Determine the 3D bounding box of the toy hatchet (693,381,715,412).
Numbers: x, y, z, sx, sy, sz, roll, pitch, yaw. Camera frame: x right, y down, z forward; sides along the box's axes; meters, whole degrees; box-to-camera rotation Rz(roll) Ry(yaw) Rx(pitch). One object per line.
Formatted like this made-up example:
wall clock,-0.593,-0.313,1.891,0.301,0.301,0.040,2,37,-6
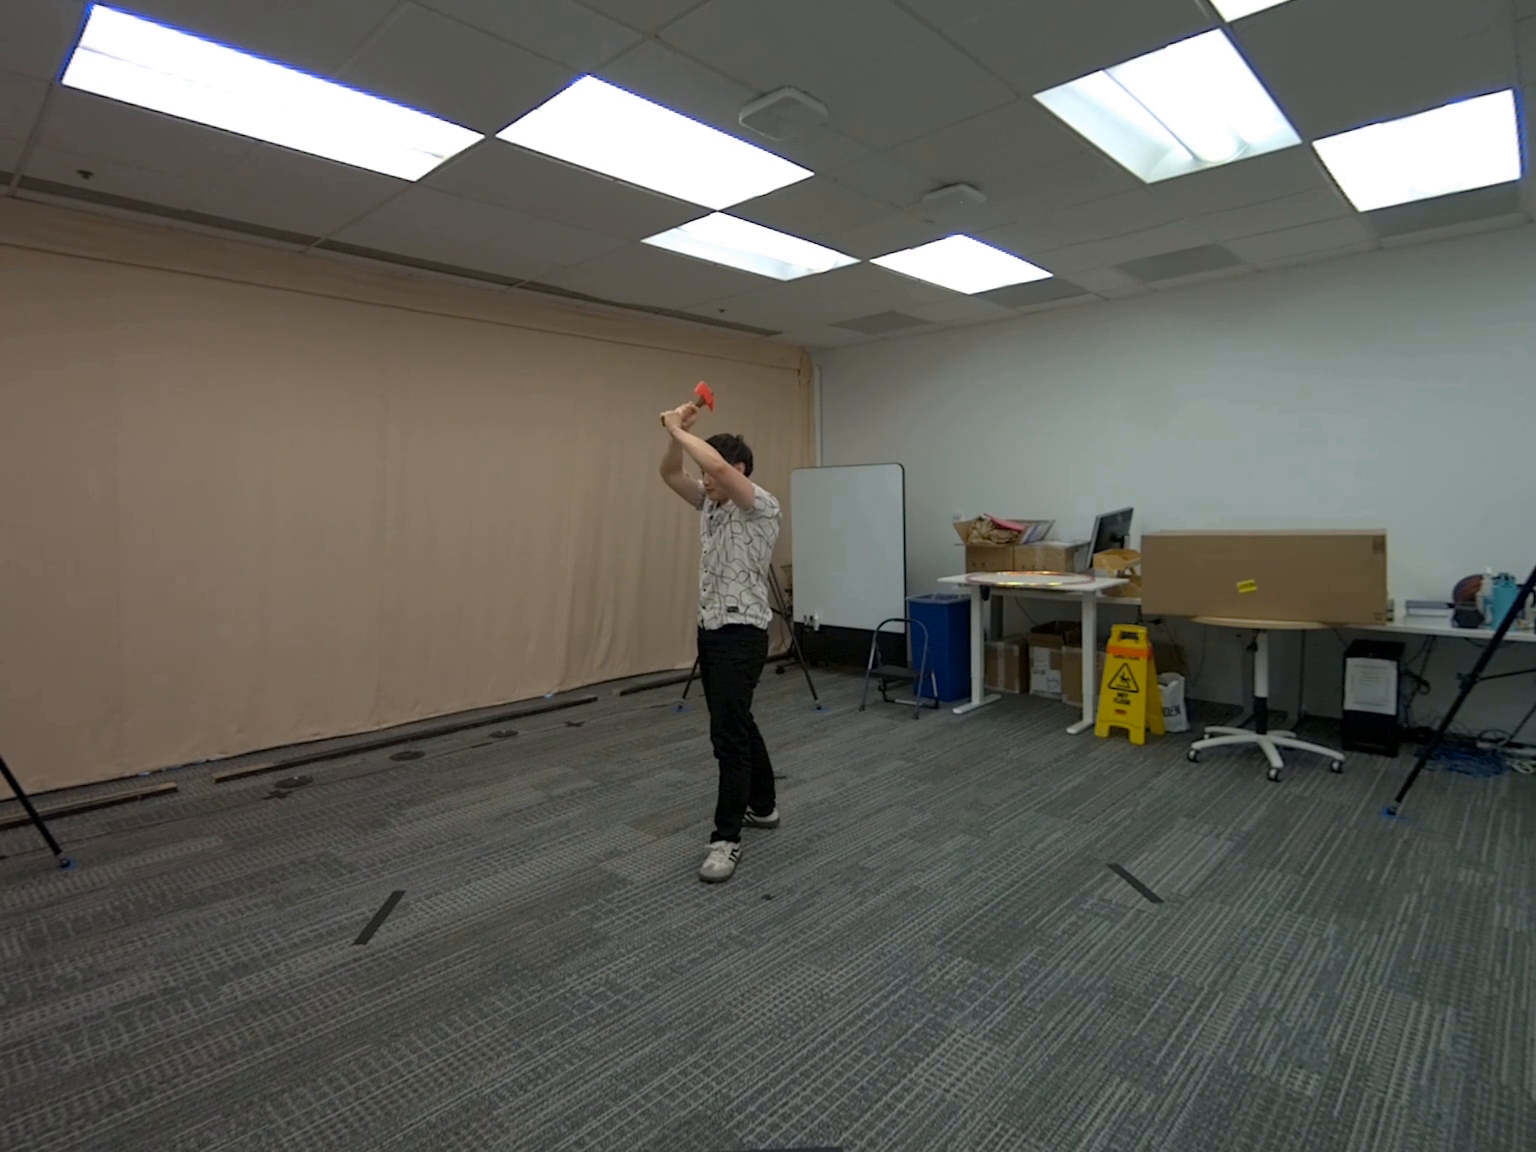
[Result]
toy hatchet,-0.312,-0.678,3.270,0.031,0.129,0.265,22,37,40
